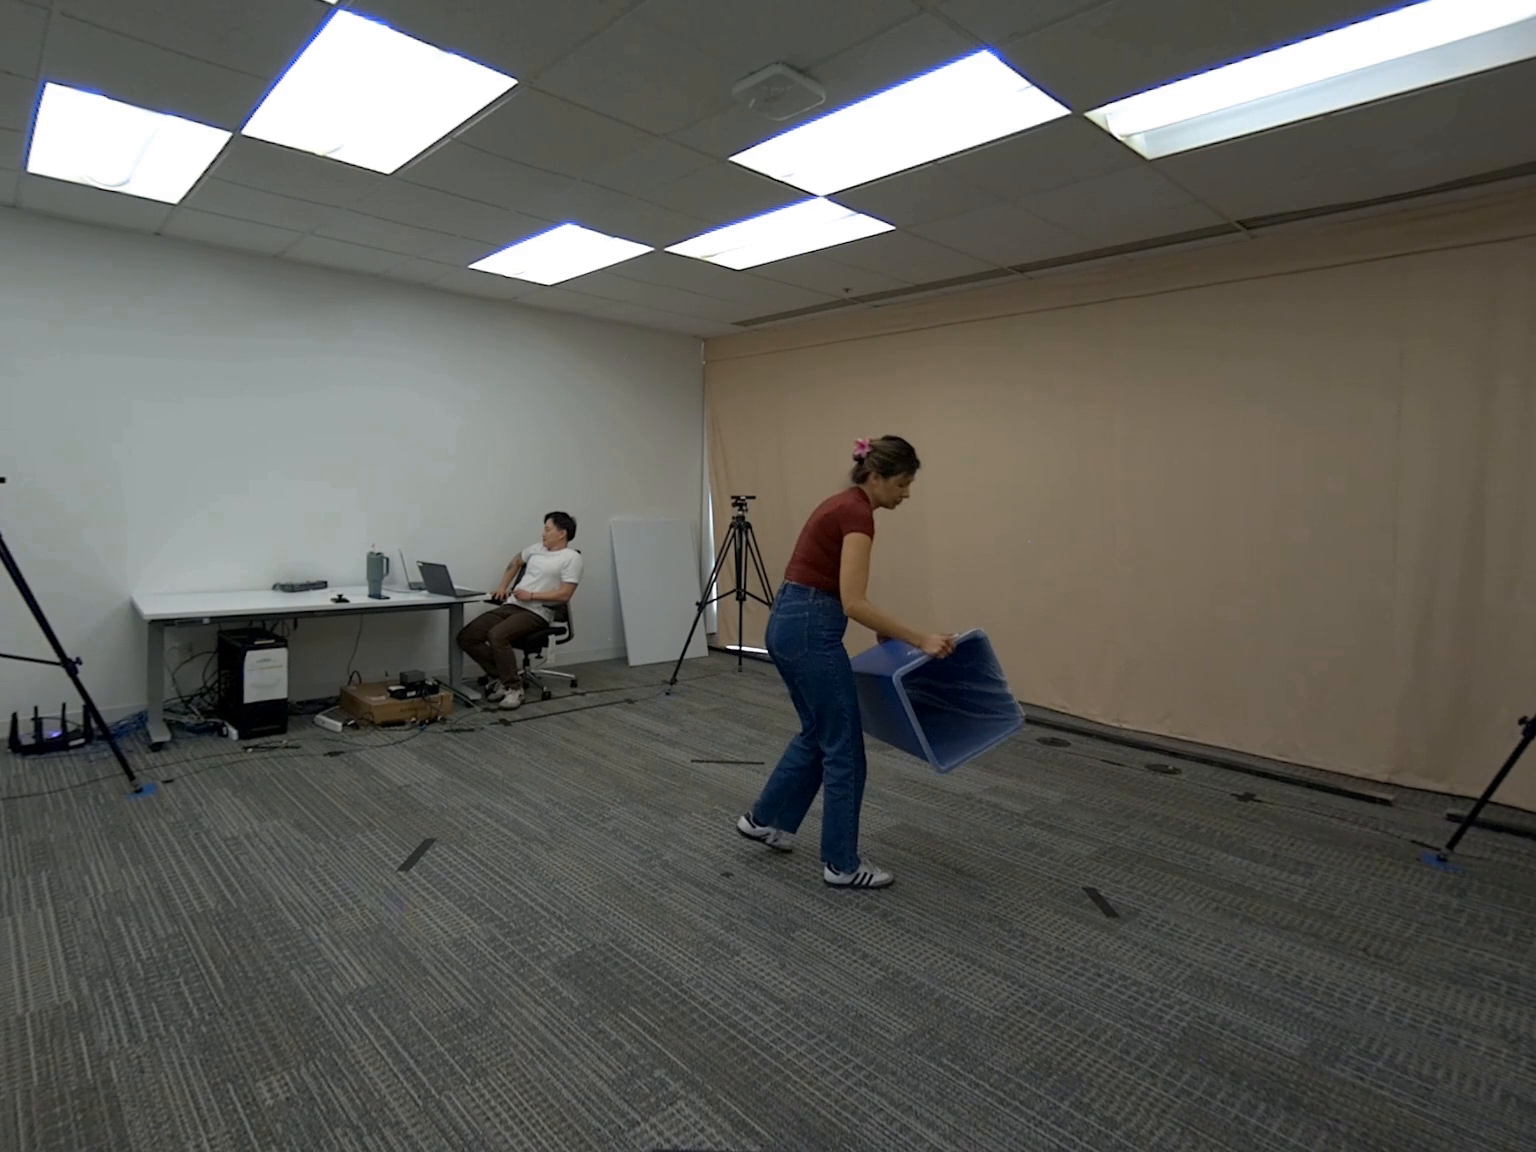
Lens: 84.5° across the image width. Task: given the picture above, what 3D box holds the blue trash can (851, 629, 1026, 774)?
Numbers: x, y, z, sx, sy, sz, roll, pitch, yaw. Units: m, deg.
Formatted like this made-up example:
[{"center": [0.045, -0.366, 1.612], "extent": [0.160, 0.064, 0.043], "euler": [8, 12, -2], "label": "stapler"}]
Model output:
[{"center": [0.531, 0.435, 3.128], "extent": [0.372, 0.378, 0.718], "euler": [-26, 2, -16], "label": "blue trash can"}]
